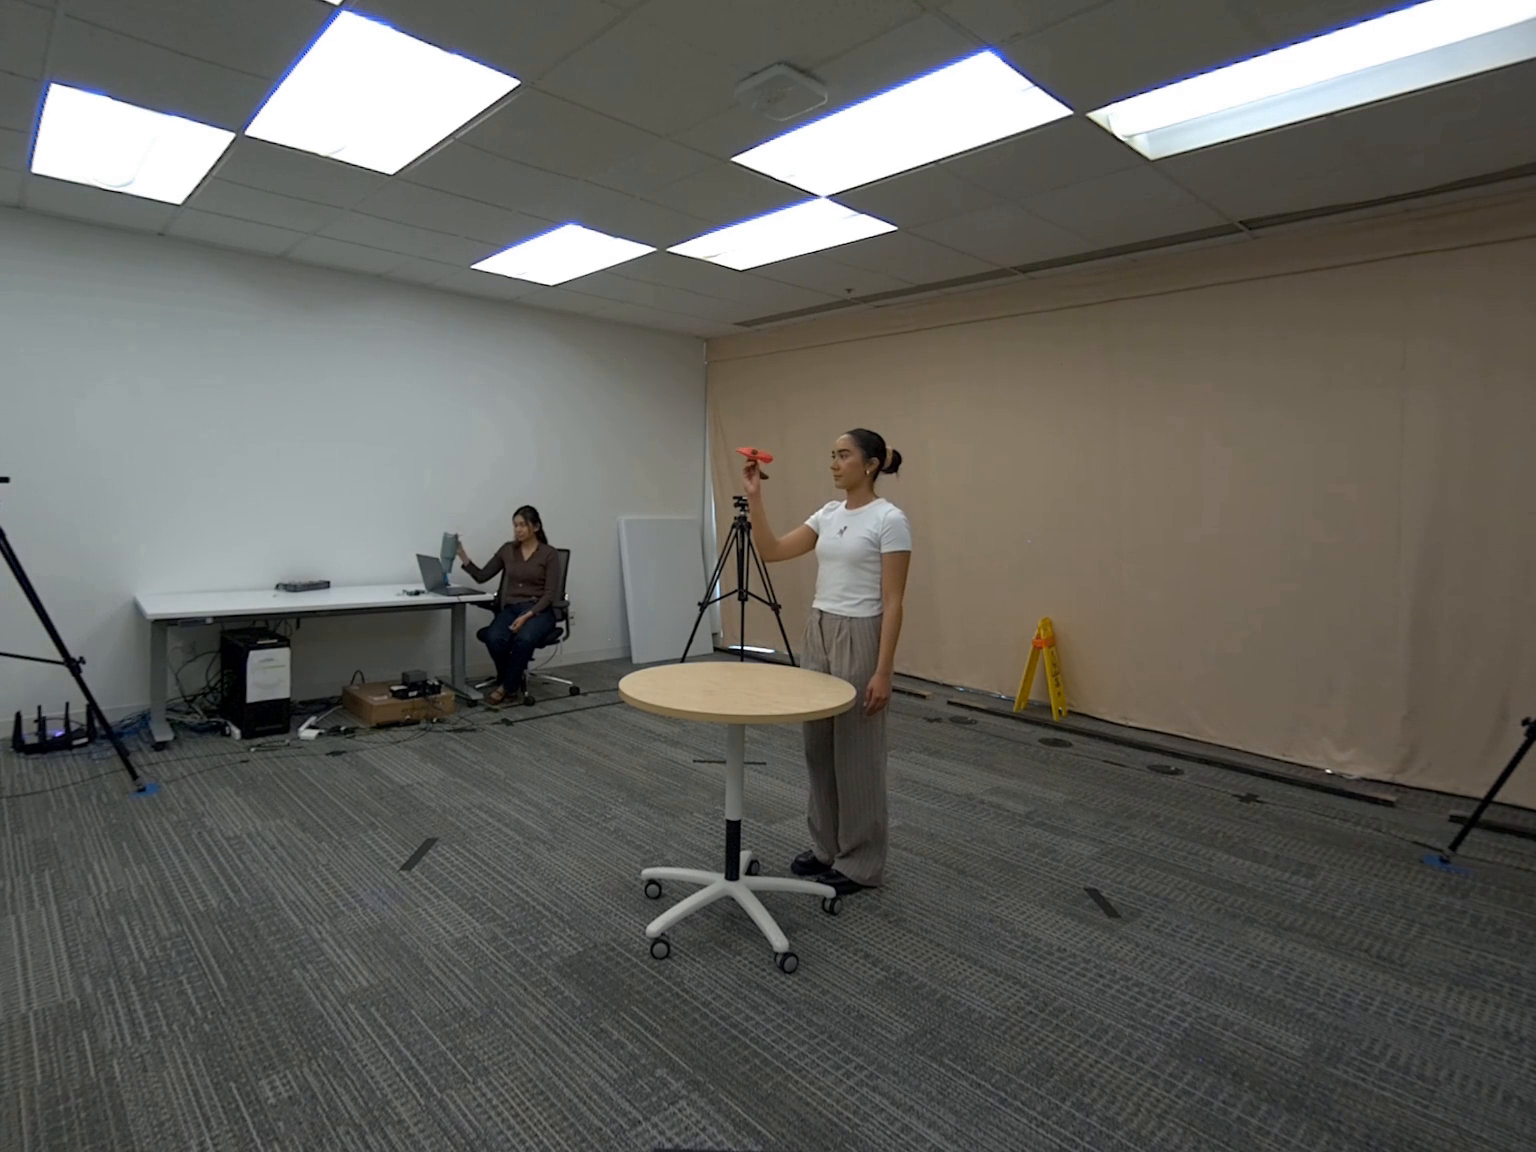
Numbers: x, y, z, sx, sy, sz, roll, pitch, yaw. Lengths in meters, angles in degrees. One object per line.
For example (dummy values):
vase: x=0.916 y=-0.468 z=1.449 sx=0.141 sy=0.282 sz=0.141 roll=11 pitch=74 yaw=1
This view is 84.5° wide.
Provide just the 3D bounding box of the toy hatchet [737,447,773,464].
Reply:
toy hatchet: x=-0.020 y=-0.399 z=3.022 sx=0.133 sy=0.030 sz=0.263 roll=7 pitch=-12 yaw=21
